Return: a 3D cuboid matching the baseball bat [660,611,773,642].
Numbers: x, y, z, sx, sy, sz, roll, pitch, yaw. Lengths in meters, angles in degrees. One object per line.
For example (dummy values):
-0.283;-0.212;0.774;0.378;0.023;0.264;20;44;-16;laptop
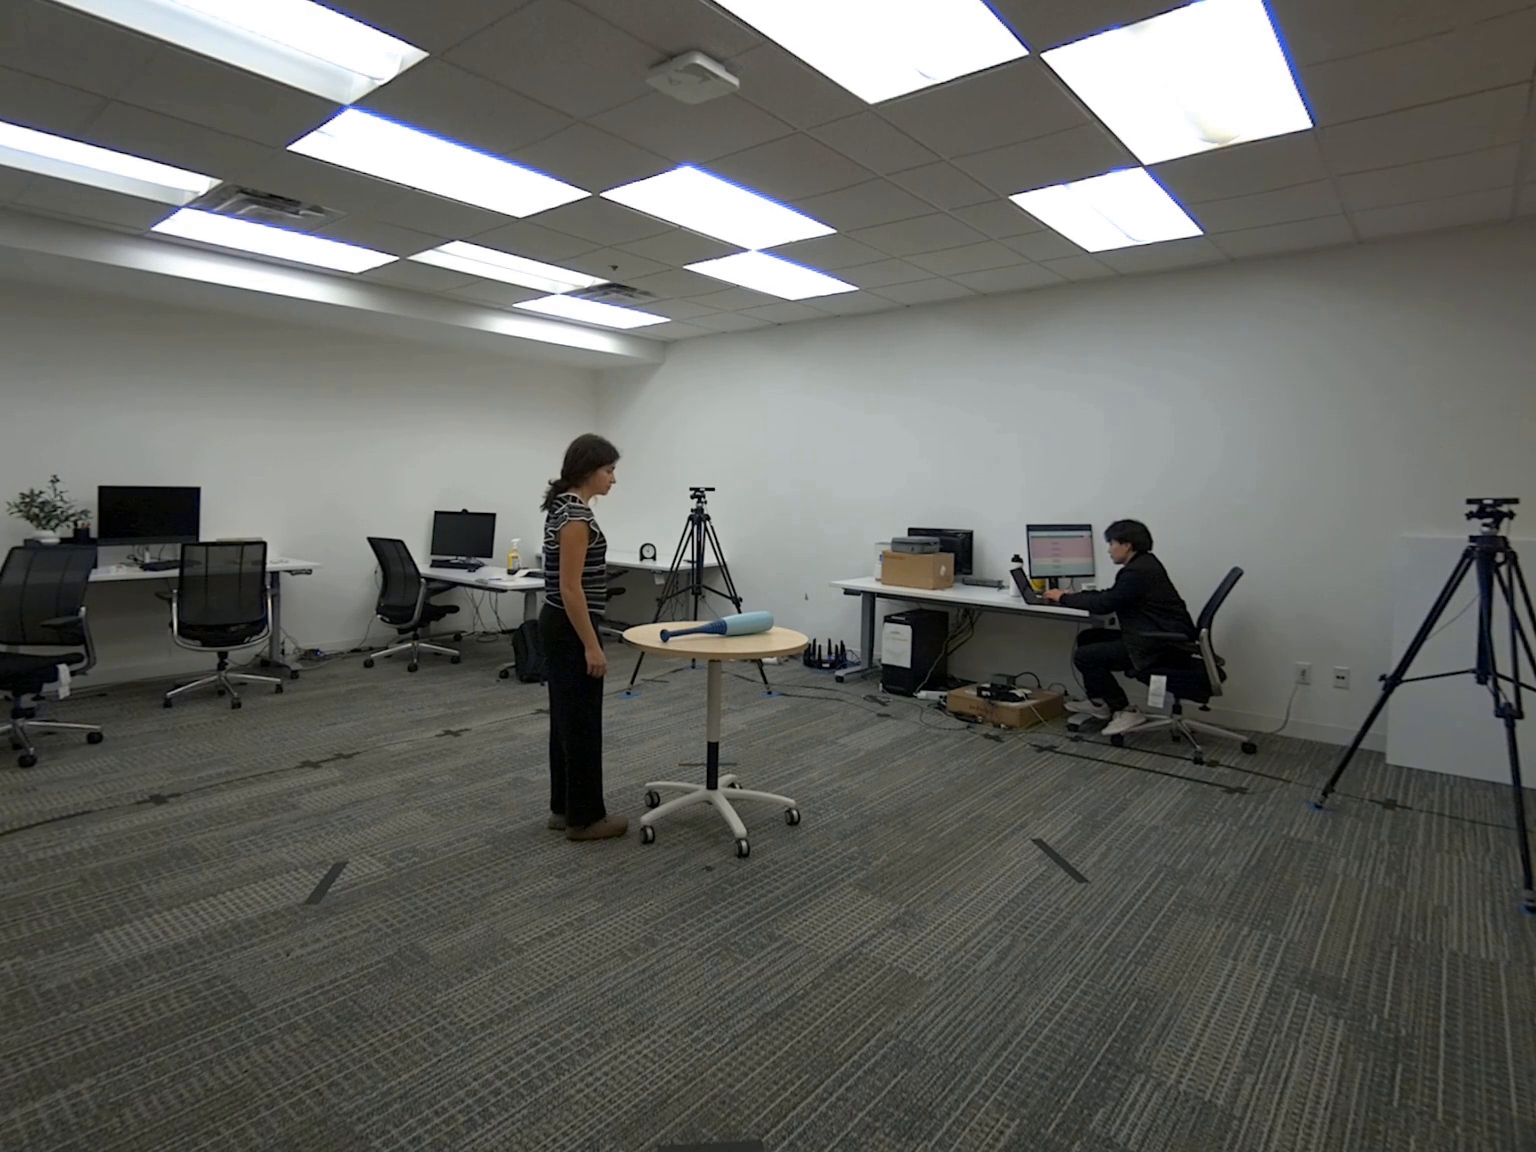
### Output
-0.218;0.215;3.476;0.528;0.088;0.092;-6;7;-36;baseball bat
